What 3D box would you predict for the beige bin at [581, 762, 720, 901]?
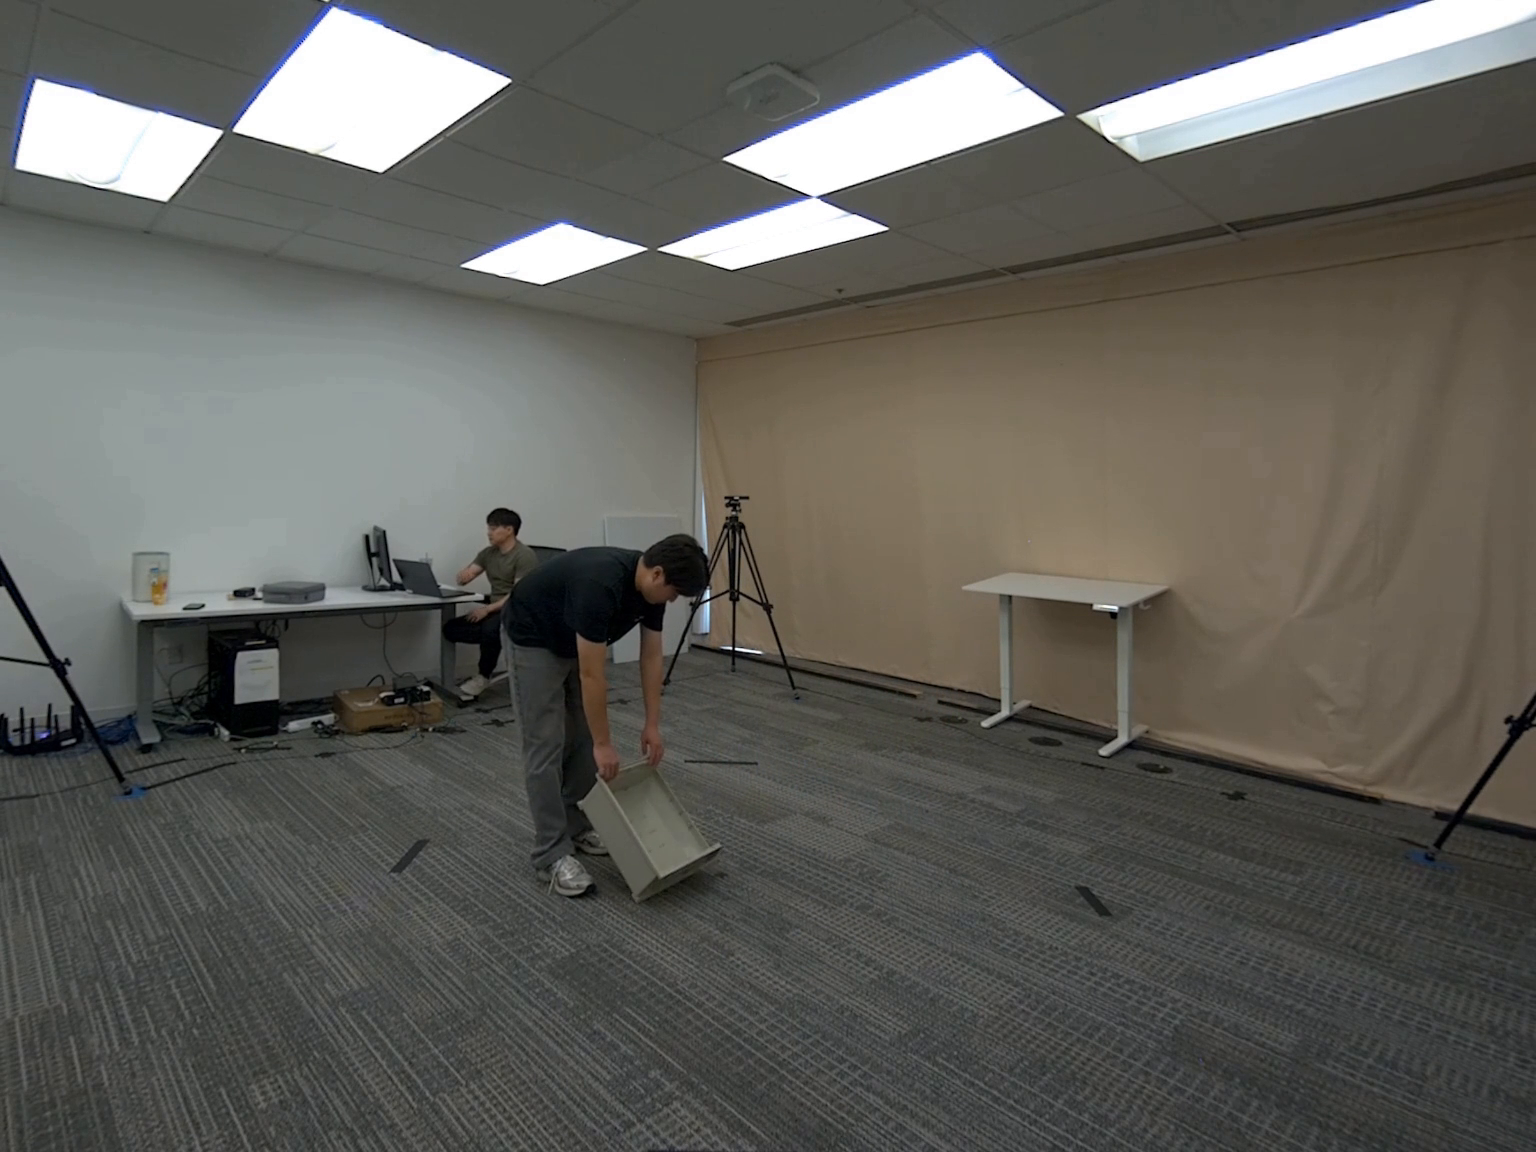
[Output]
[{"bbox_3d":[-0.422,0.898,3.061,0.369,0.188,0.432,-4,49,-54],"label":"beige bin"}]
